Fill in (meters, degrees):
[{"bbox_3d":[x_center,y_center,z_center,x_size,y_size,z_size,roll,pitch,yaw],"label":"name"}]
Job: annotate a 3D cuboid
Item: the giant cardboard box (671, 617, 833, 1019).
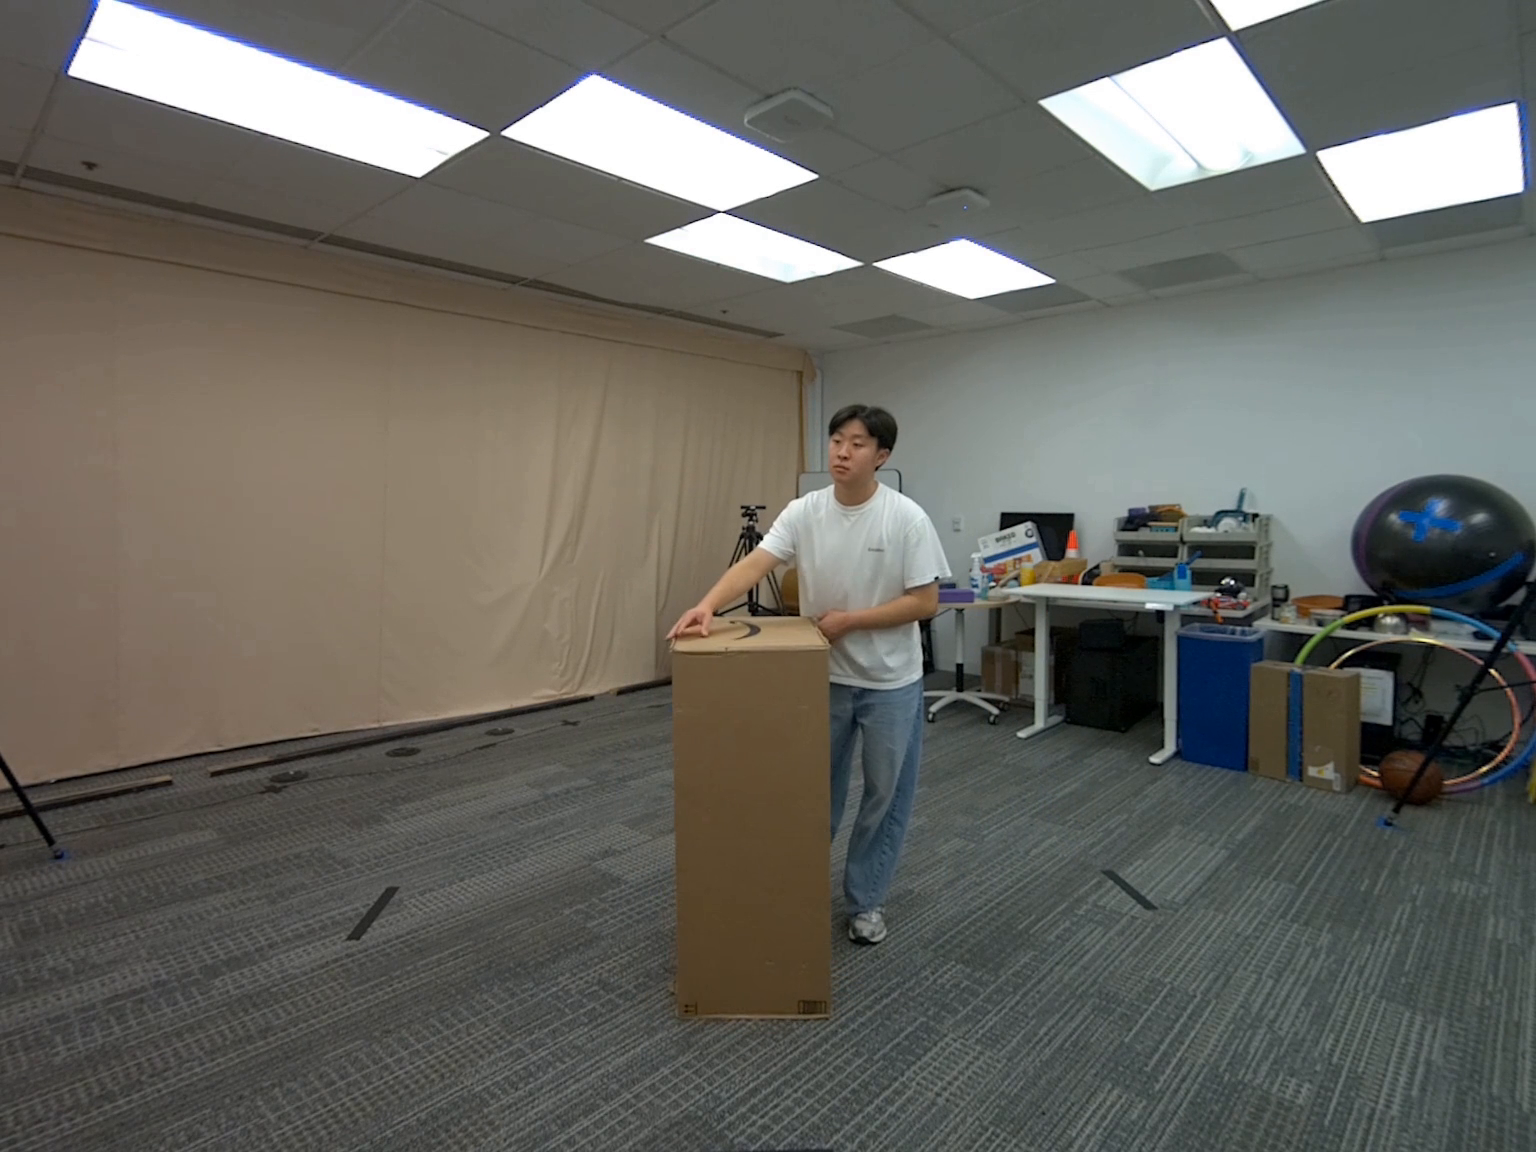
[{"bbox_3d":[-0.059,0.670,2.526,0.426,1.024,0.579,0,3,-1],"label":"giant cardboard box"}]
